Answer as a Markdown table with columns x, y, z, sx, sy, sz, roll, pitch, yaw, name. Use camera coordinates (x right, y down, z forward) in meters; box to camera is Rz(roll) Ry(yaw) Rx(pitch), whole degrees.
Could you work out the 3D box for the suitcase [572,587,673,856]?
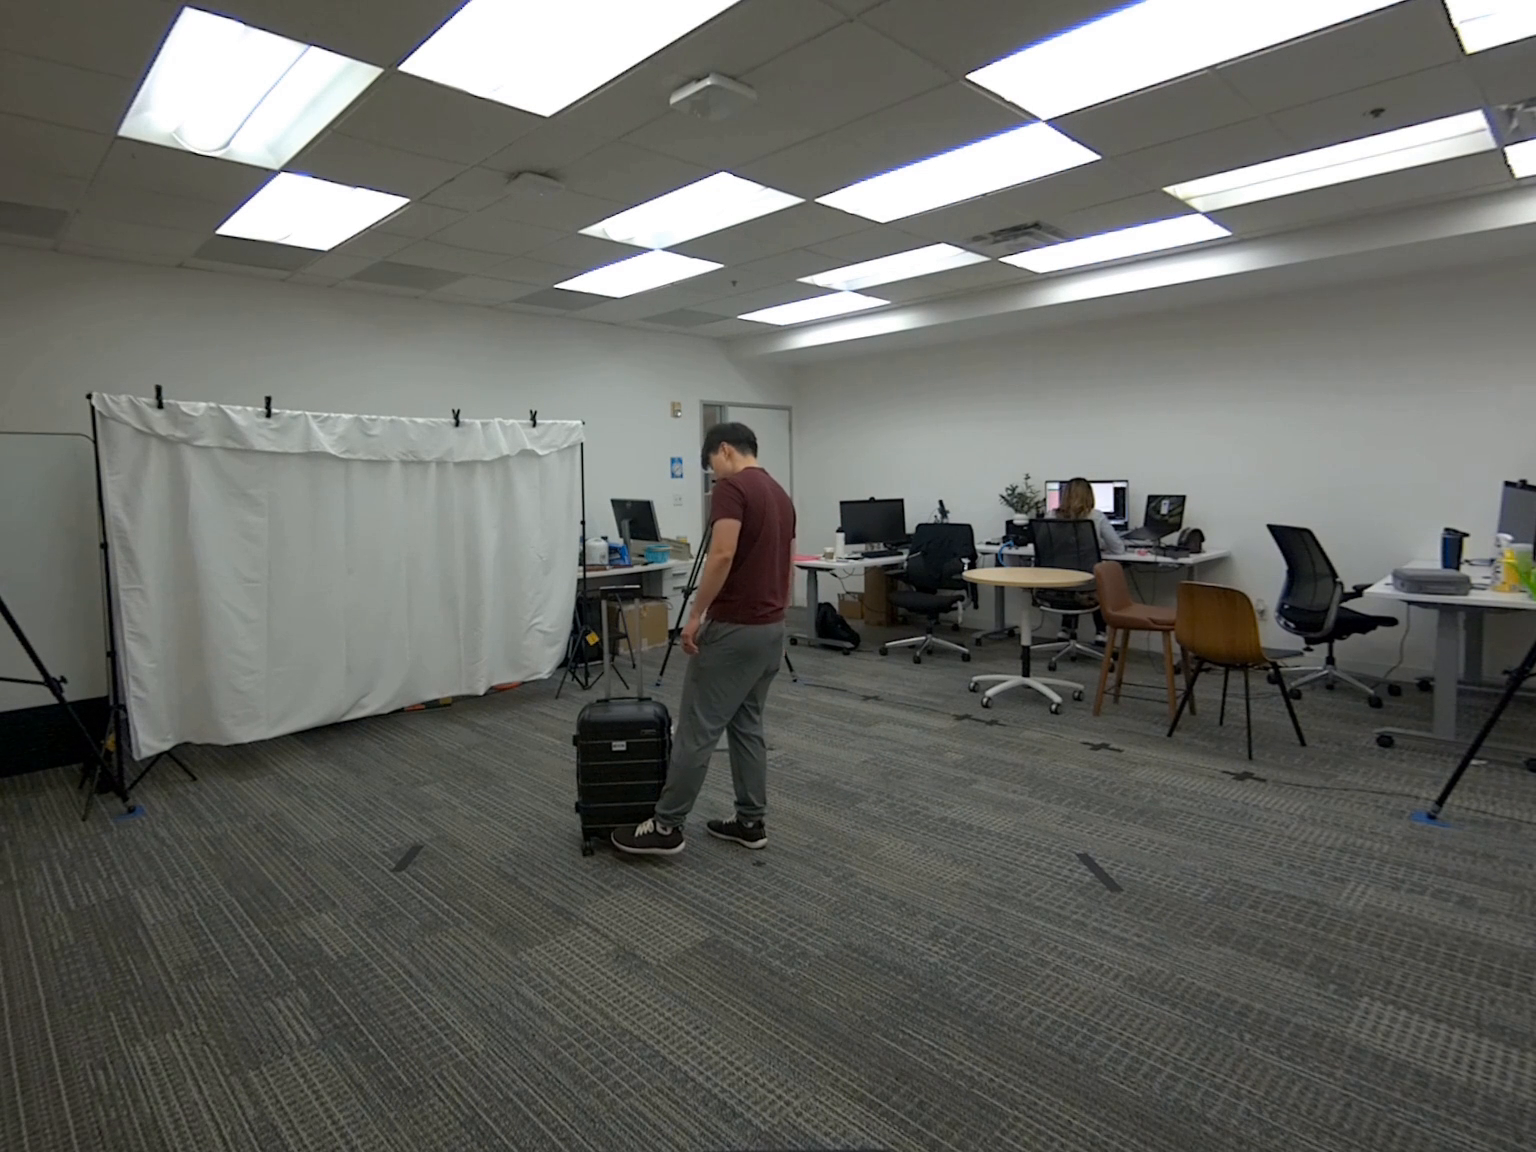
| x | y | z | sx | sy | sz | roll | pitch | yaw | name |
| --- | --- | --- | --- | --- | --- | --- | --- | --- | --- |
| -0.565 | 0.560 | 3.324 | 0.383 | 0.976 | 0.258 | -3 | 3 | -3 | suitcase |
